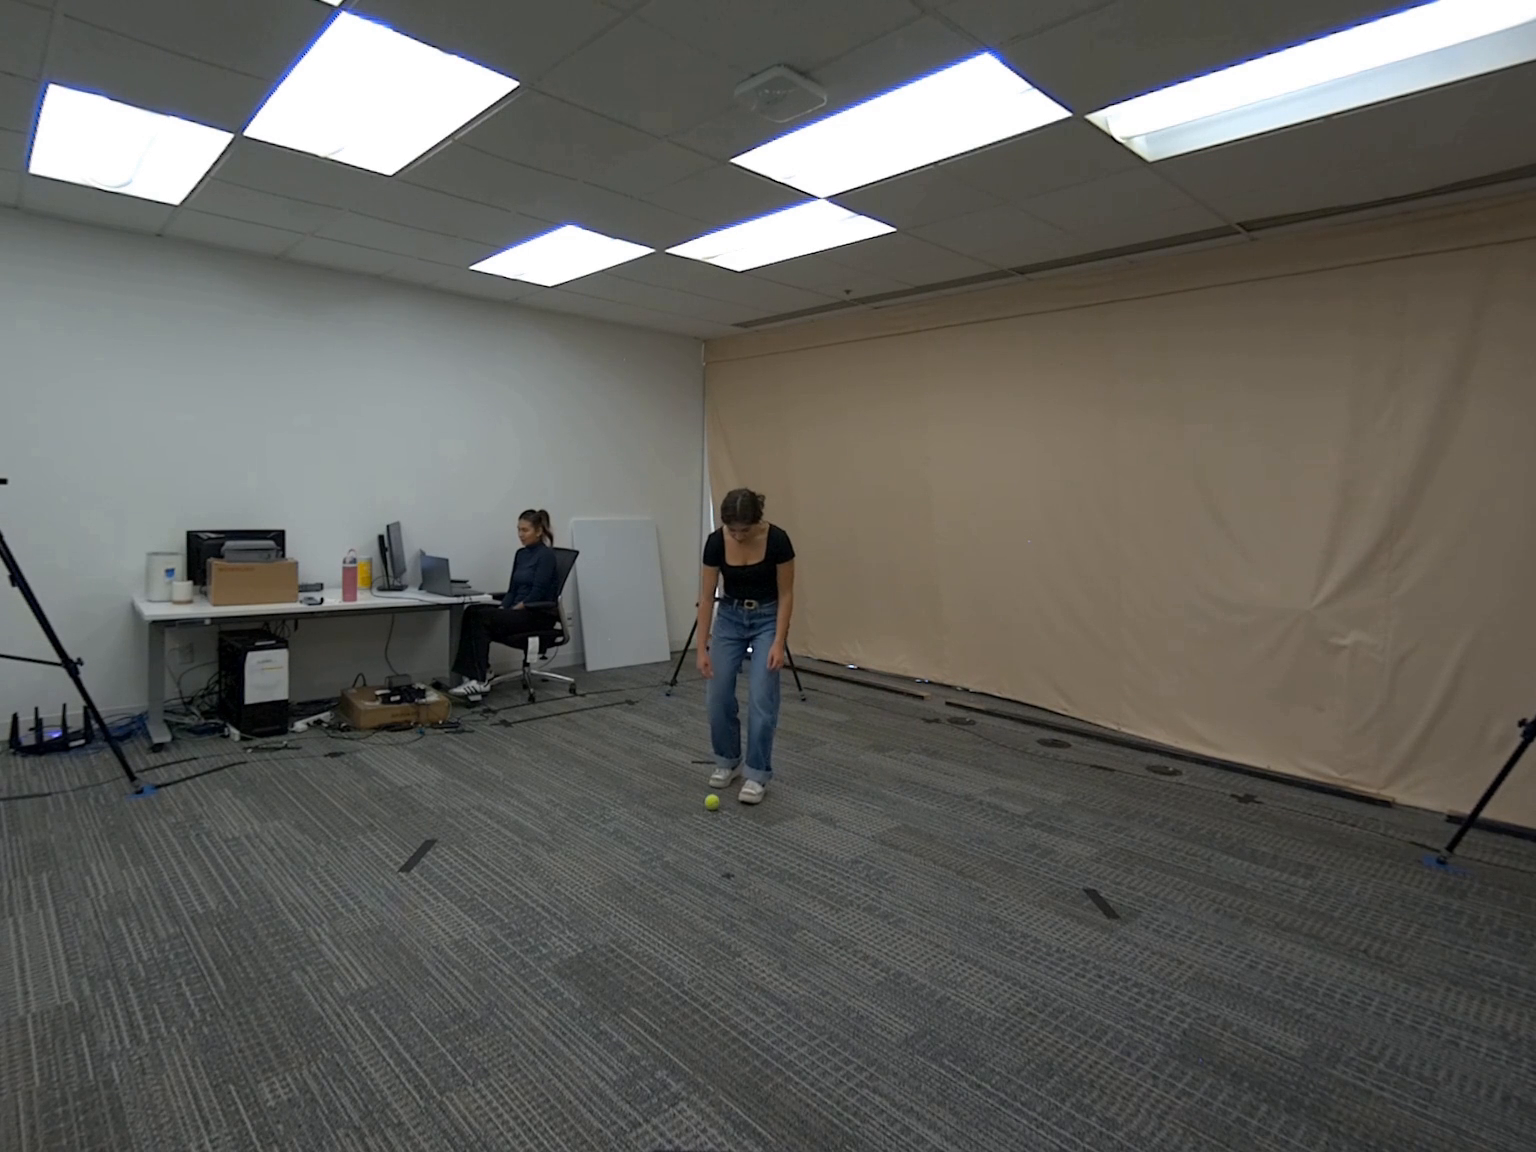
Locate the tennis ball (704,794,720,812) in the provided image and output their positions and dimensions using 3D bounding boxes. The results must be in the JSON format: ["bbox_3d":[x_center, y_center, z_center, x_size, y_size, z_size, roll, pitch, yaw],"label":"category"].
[{"bbox_3d":[-0.265,0.999,3.764,0.066,0.066,0.067,1,4,-1],"label":"tennis ball"}]
